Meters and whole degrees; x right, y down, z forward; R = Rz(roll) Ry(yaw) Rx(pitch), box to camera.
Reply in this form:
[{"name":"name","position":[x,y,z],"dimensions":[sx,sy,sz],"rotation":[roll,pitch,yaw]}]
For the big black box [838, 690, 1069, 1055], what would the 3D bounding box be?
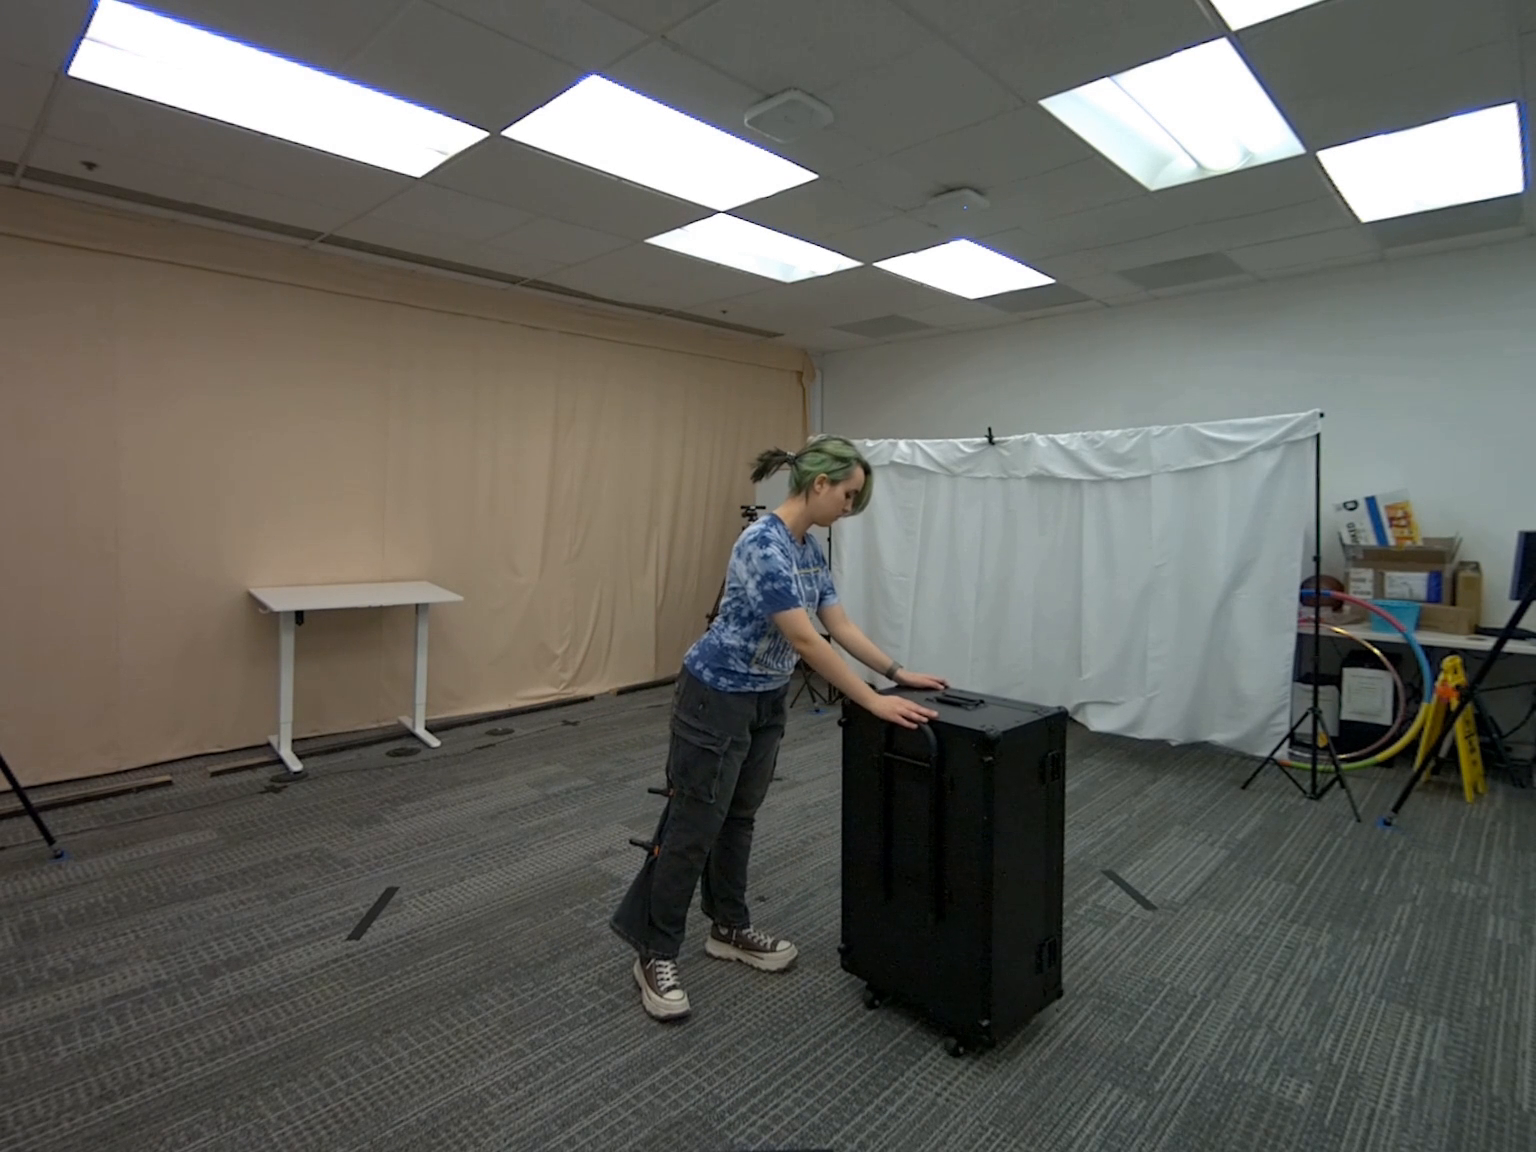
[{"name":"big black box","position":[0.502,0.777,2.302],"dimensions":[0.384,0.860,0.538],"rotation":[-4,4,-42]}]
